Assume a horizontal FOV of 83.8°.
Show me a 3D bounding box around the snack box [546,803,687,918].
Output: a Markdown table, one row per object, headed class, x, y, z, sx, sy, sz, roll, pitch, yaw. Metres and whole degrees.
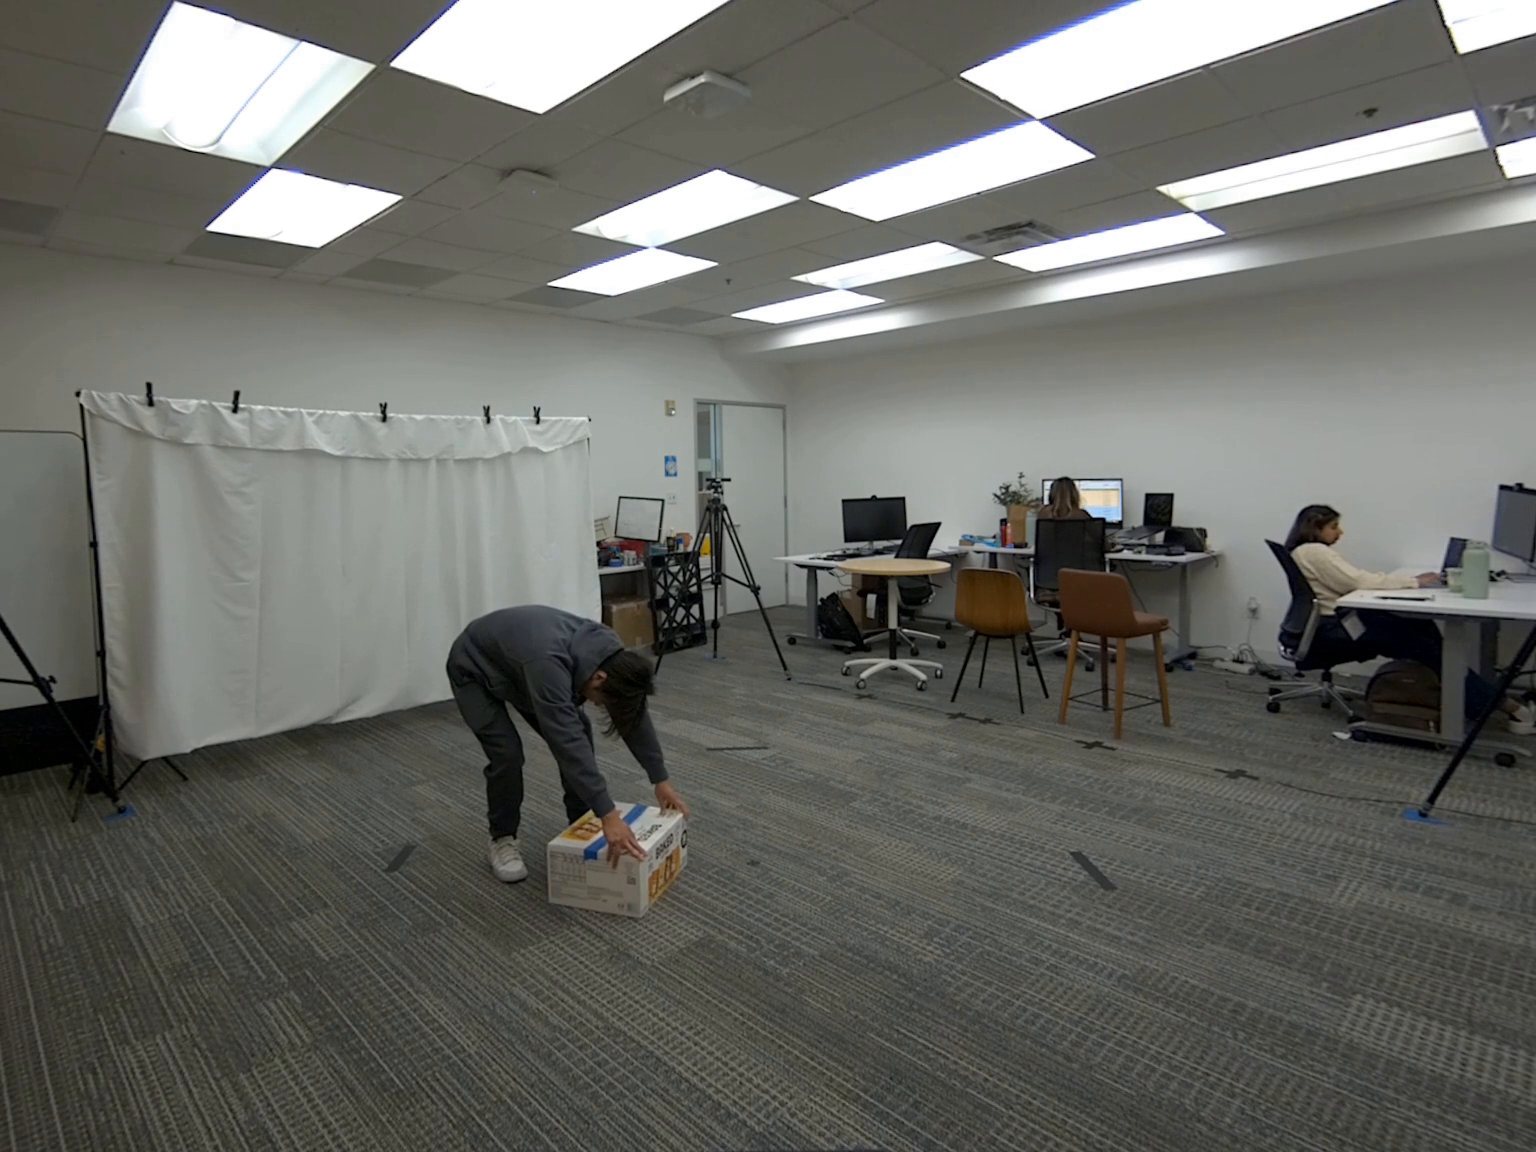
| class | x | y | z | sx | sy | sz | roll | pitch | yaw |
| --- | --- | --- | --- | --- | --- | --- | --- | --- | --- |
| snack box | -0.510 | 0.969 | 2.959 | 0.346 | 0.205 | 0.400 | 1 | 7 | 18 |
